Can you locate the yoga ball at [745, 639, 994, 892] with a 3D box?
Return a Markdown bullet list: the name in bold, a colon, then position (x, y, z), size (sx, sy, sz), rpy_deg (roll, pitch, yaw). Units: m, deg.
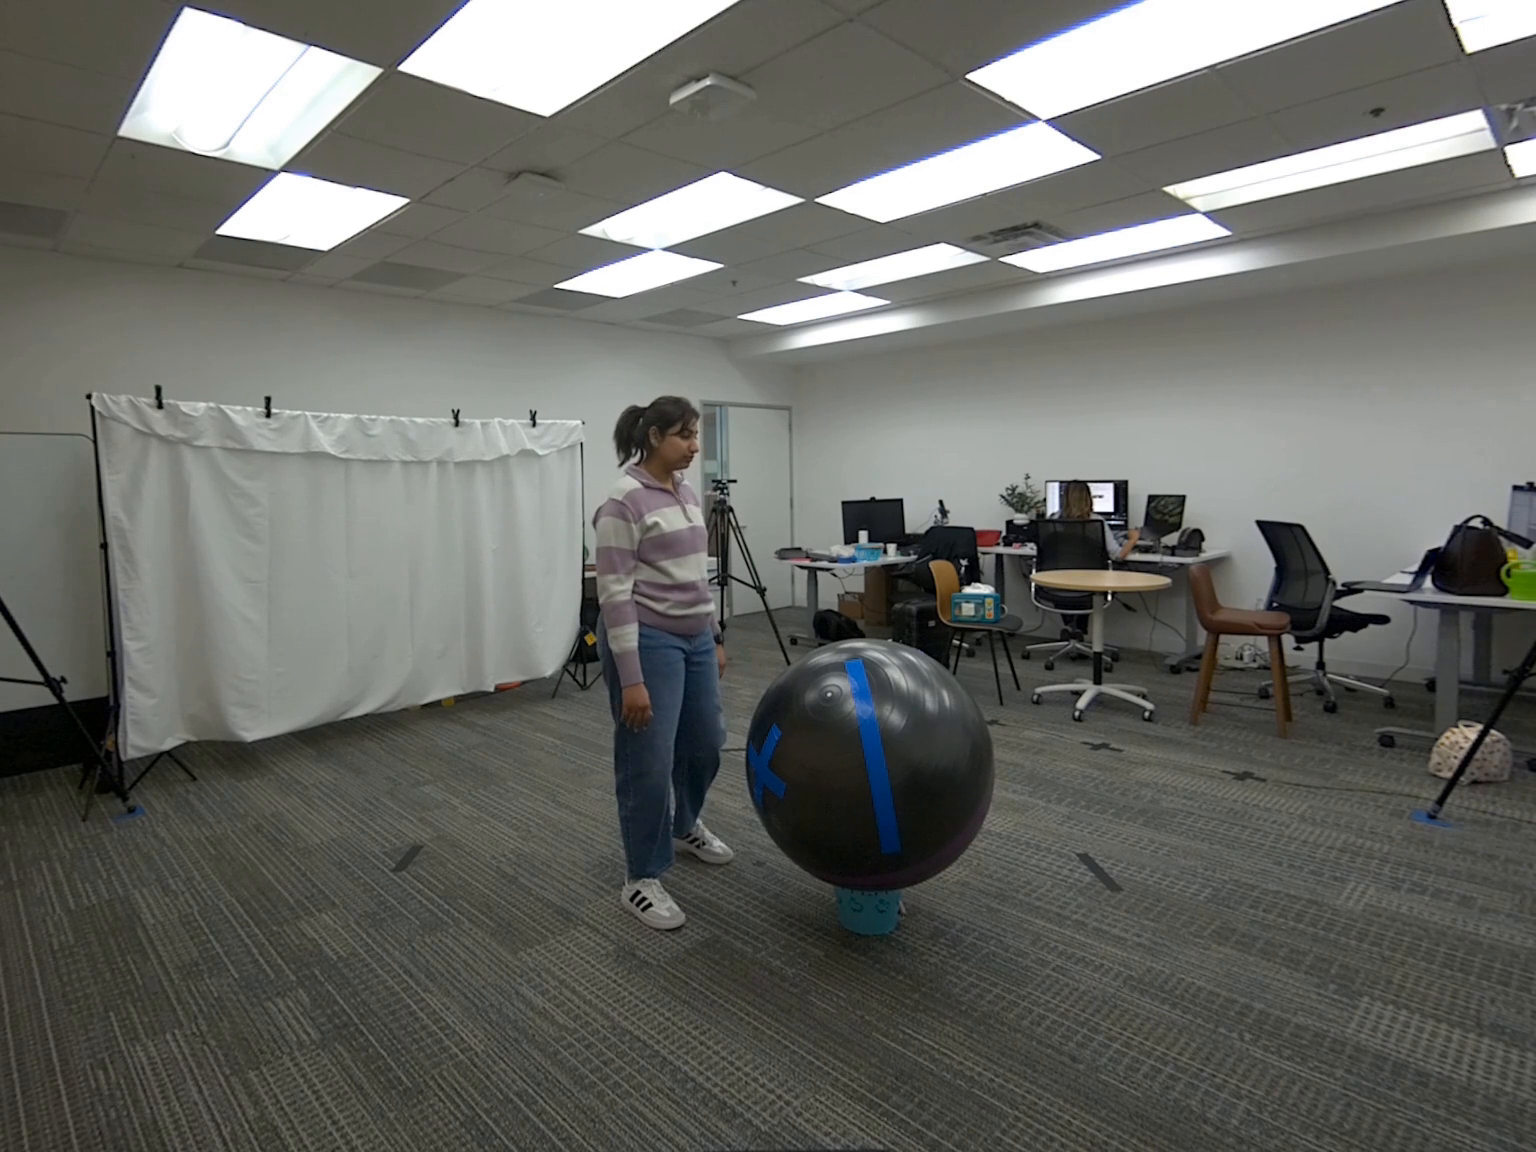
- **yoga ball**: position (0.316, 0.585, 2.642), size (0.757, 0.755, 0.762), rpy_deg (-1, 5, -2)
